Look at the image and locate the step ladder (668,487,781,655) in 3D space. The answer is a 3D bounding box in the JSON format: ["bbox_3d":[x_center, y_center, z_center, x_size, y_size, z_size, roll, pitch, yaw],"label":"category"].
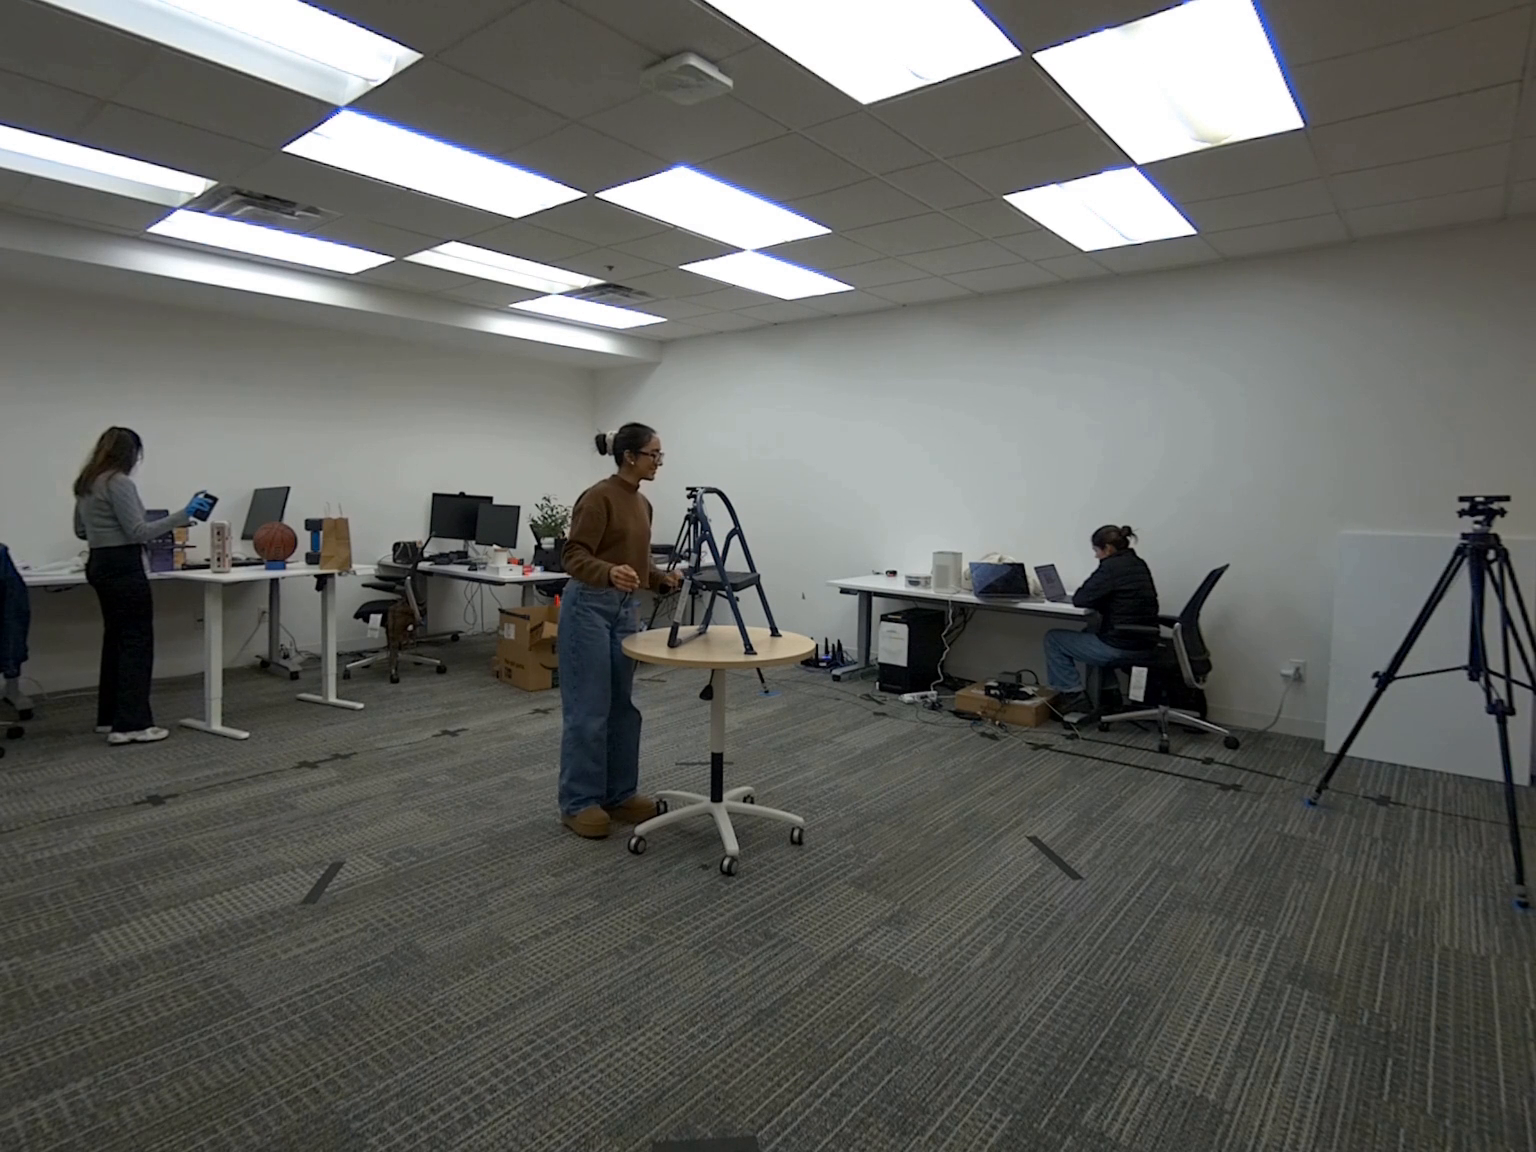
[{"bbox_3d":[-0.174,-0.042,3.347,0.356,0.604,0.424,2,4,16],"label":"step ladder"}]
